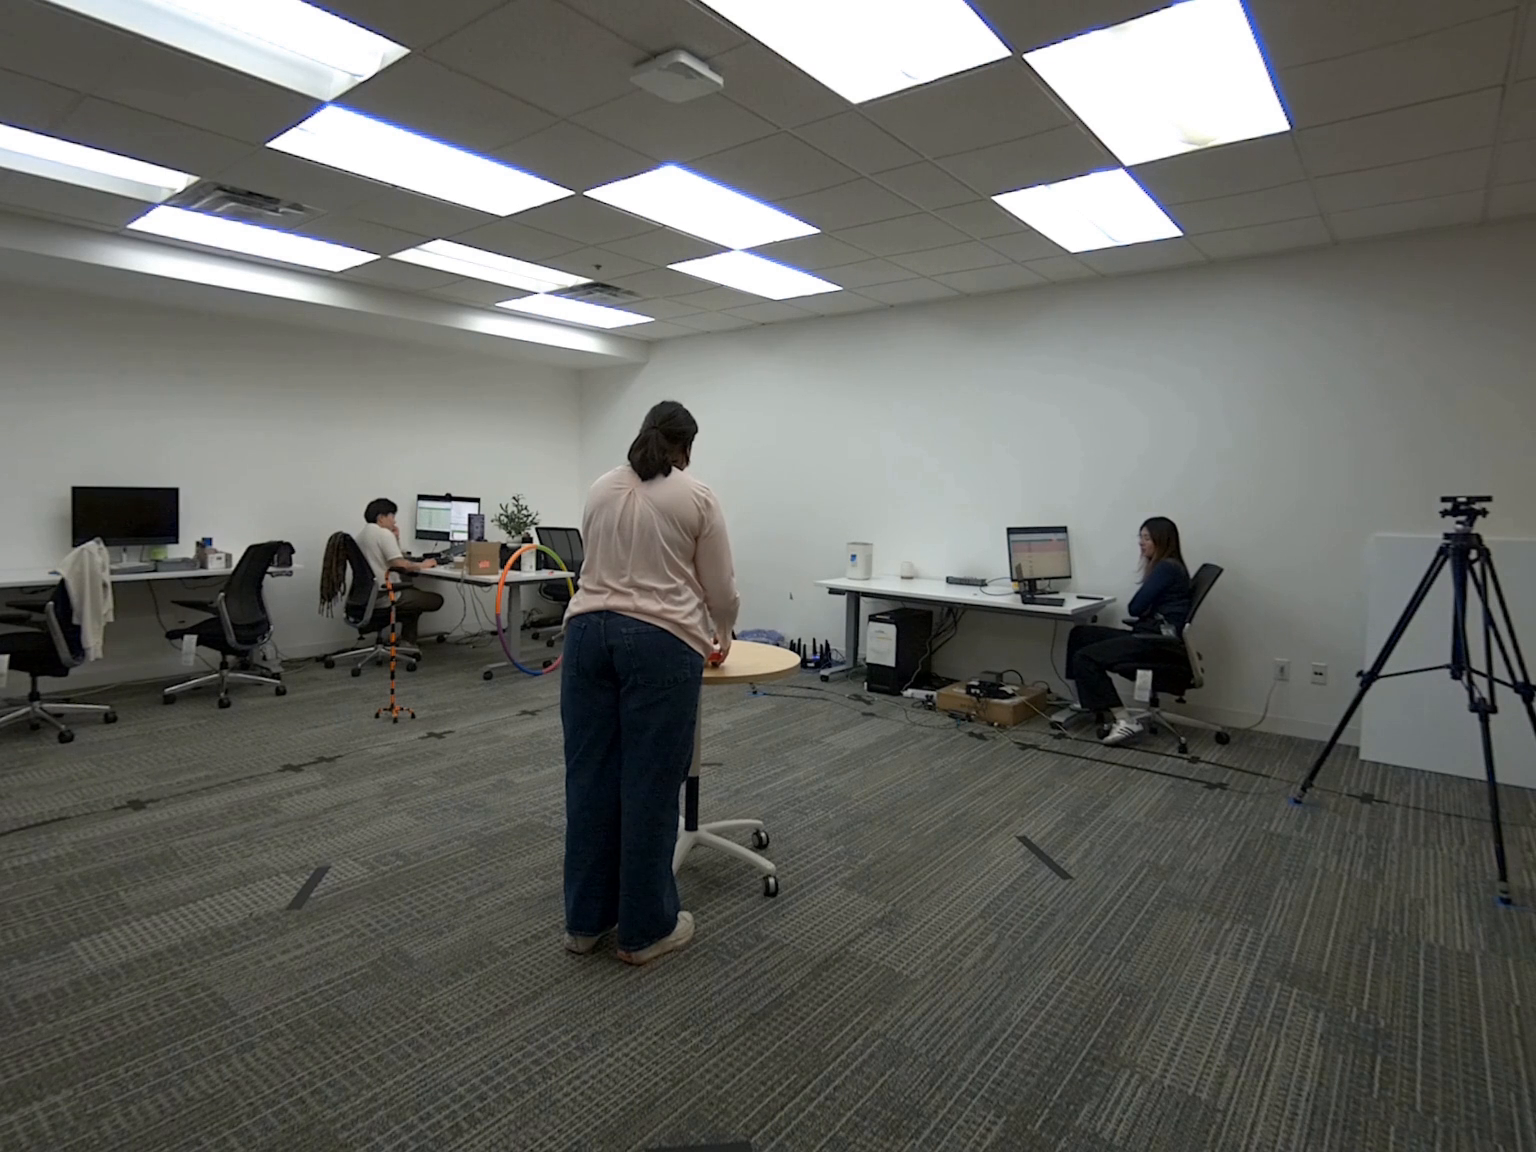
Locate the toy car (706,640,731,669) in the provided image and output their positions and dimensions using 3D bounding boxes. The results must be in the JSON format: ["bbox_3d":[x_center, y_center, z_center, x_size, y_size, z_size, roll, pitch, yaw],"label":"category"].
[{"bbox_3d":[-0.240,0.264,2.939,0.128,0.084,0.257,2,-6,-16],"label":"toy car"}]
